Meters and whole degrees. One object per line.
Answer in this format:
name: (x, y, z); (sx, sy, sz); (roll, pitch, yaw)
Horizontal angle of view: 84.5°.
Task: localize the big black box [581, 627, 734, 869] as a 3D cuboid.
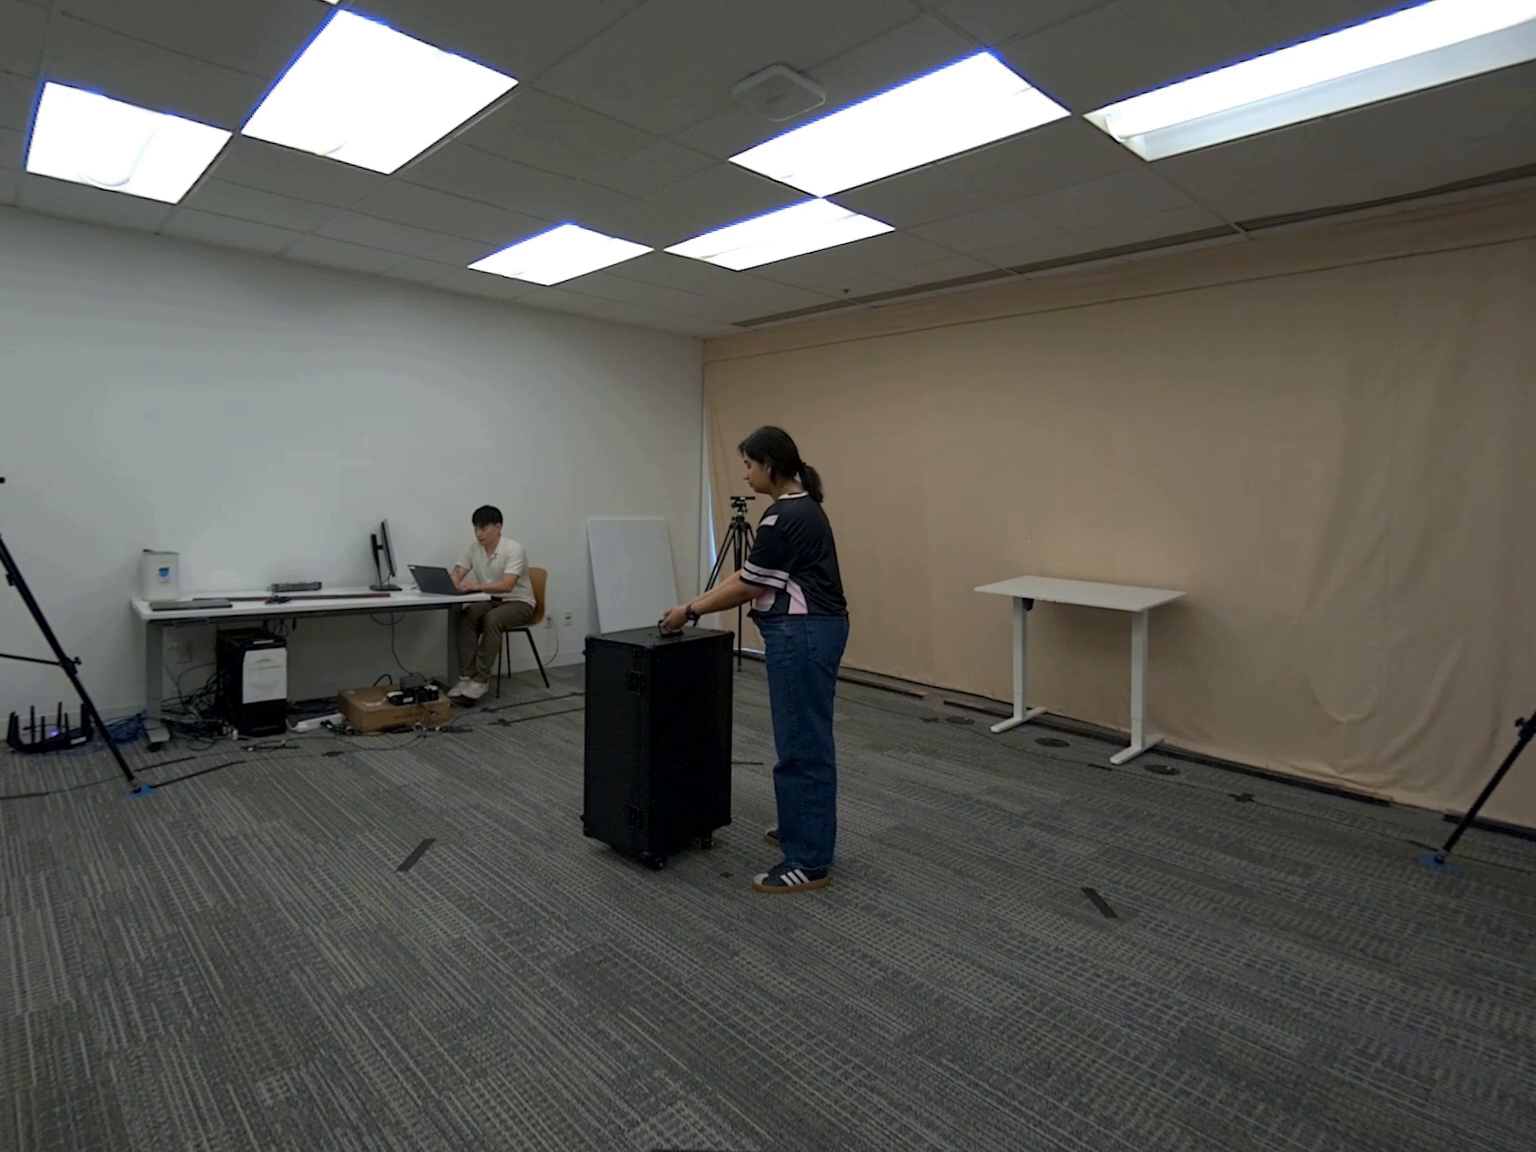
big black box: (-0.439, 0.655, 3.322); (0.394, 0.867, 0.512); (3, 3, 37)
